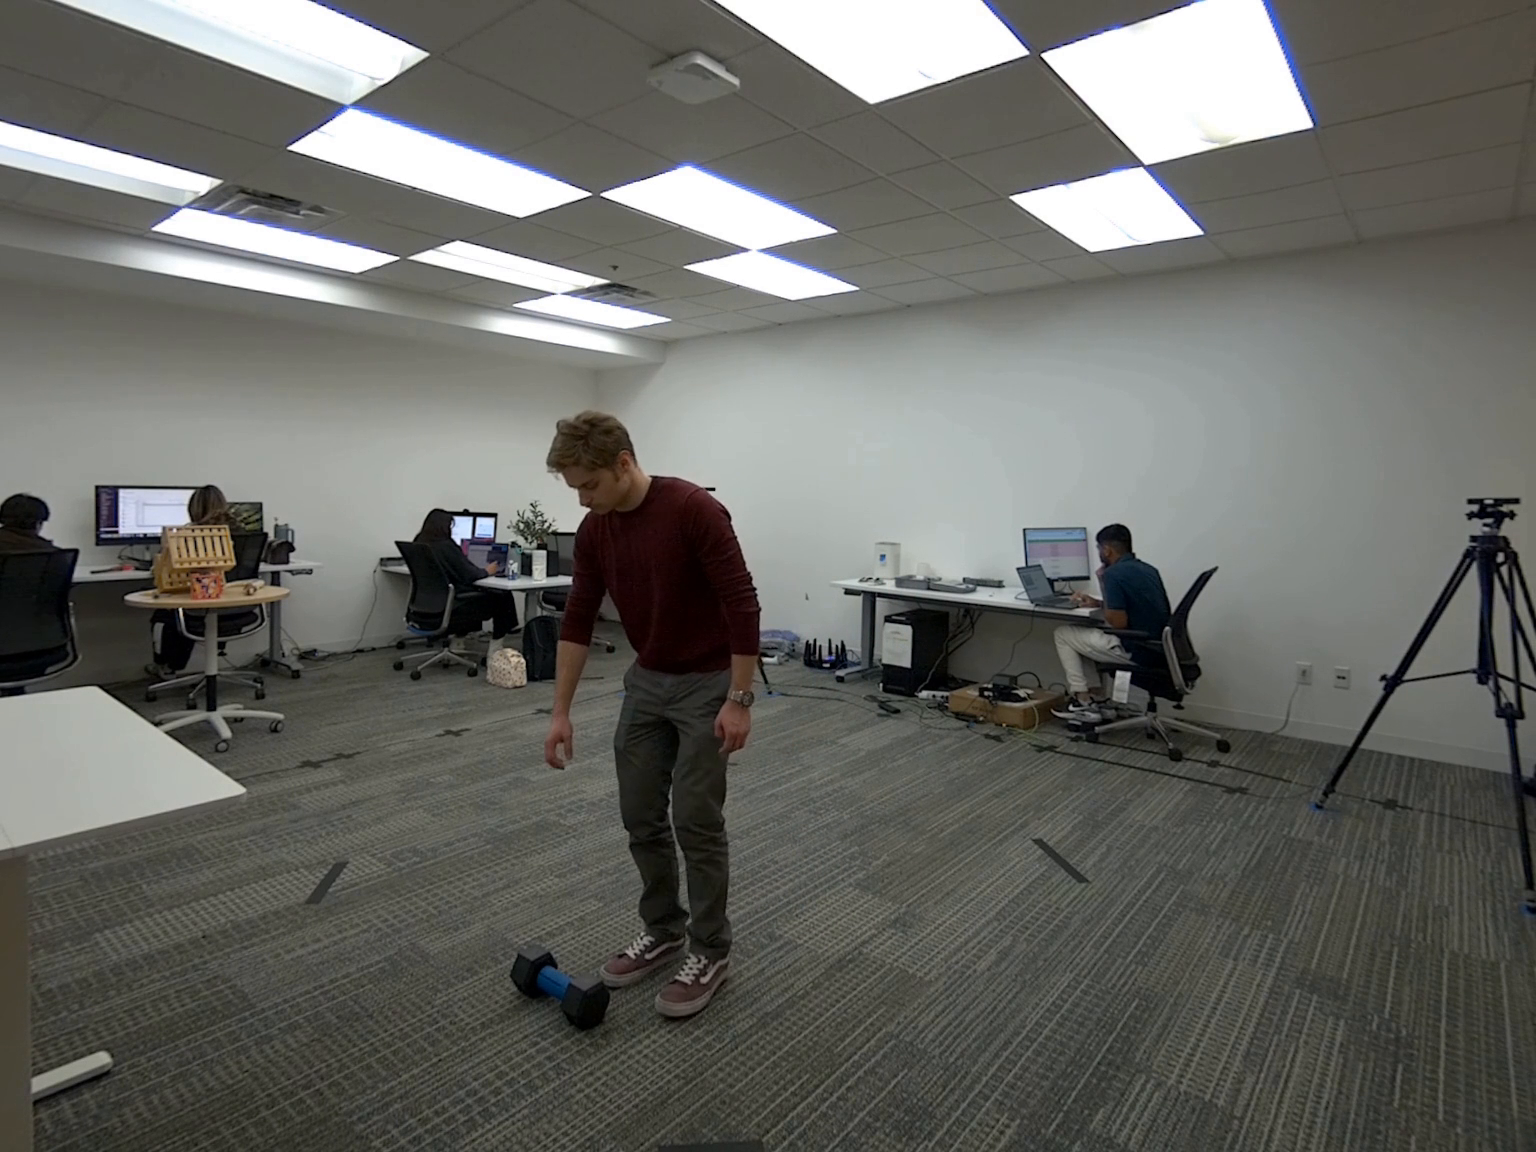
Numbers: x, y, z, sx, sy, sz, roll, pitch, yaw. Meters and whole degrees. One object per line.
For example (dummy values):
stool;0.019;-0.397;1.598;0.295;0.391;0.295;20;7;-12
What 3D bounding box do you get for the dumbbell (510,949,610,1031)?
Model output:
dumbbell;-0.565;1.092;2.270;0.303;0.119;0.108;4;38;38
